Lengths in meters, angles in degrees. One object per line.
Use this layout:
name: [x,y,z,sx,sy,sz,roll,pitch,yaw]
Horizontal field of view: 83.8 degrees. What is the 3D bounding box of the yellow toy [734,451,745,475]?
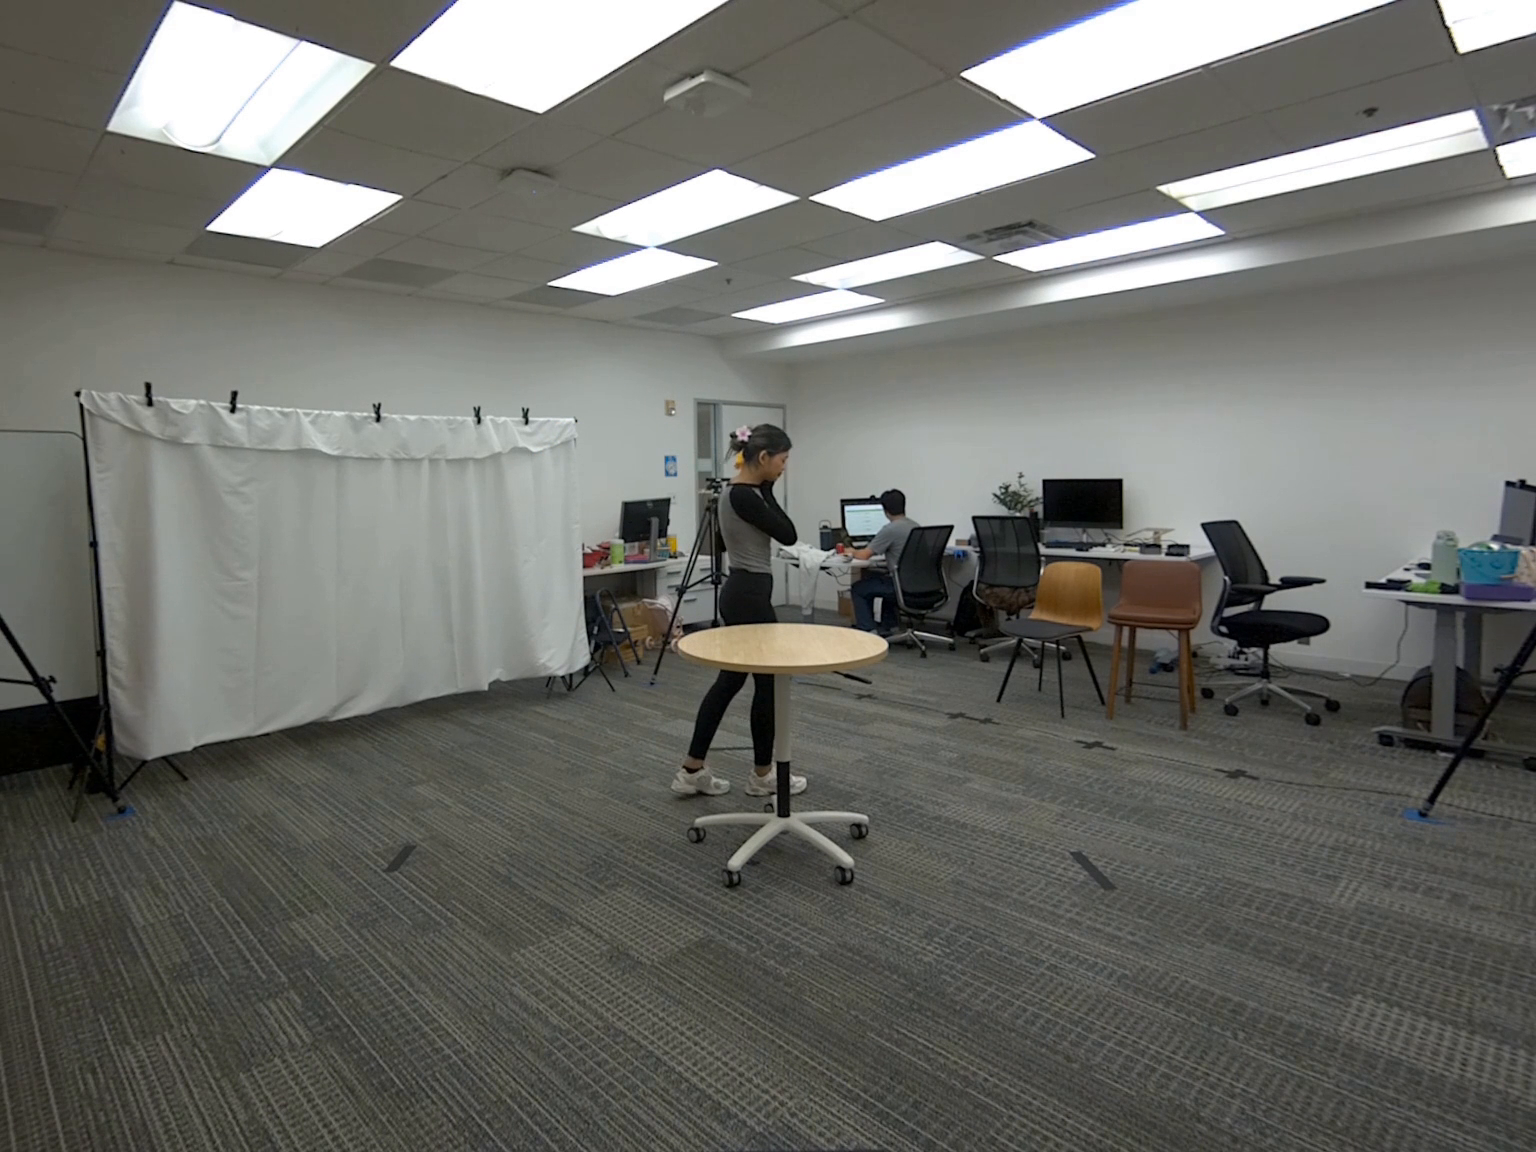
yellow toy: [-0.055,-0.551,3.904,0.193,0.232,0.204,-6,-4,-1]
